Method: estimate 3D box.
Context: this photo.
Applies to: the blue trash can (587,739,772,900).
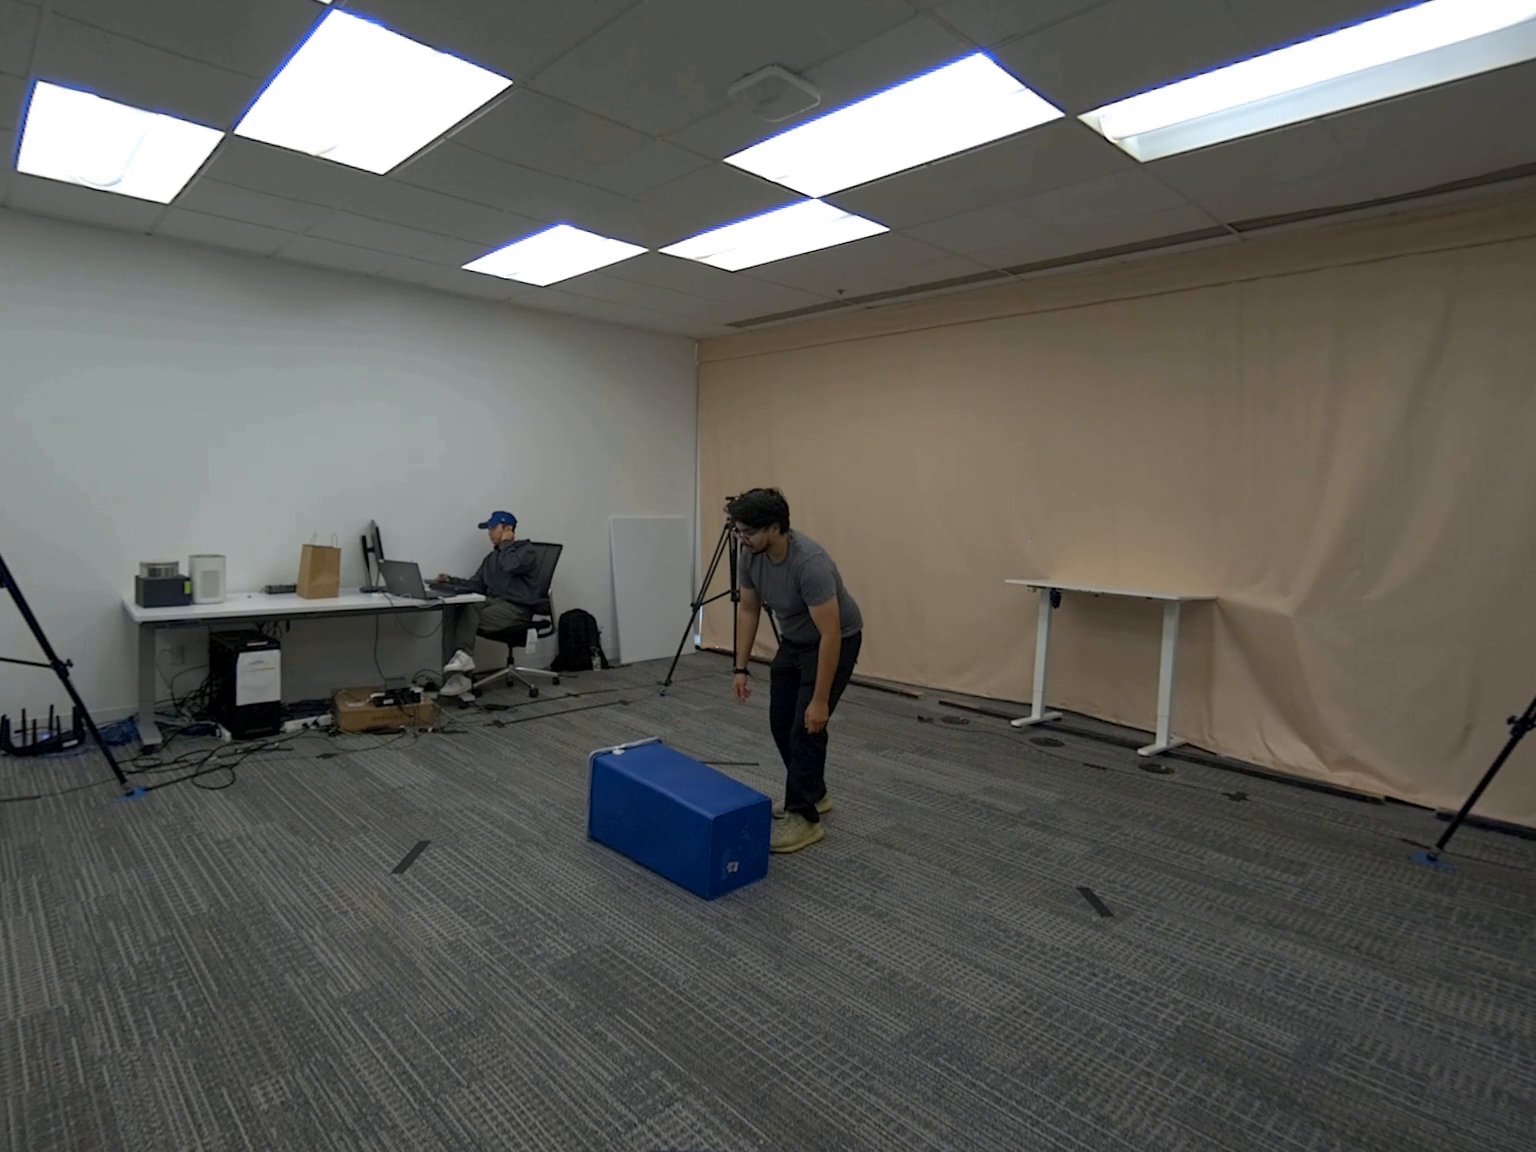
[{"bbox_3d":[-0.363,0.921,3.233,0.365,0.377,0.732,-1,7,-44],"label":"blue trash can"}]
